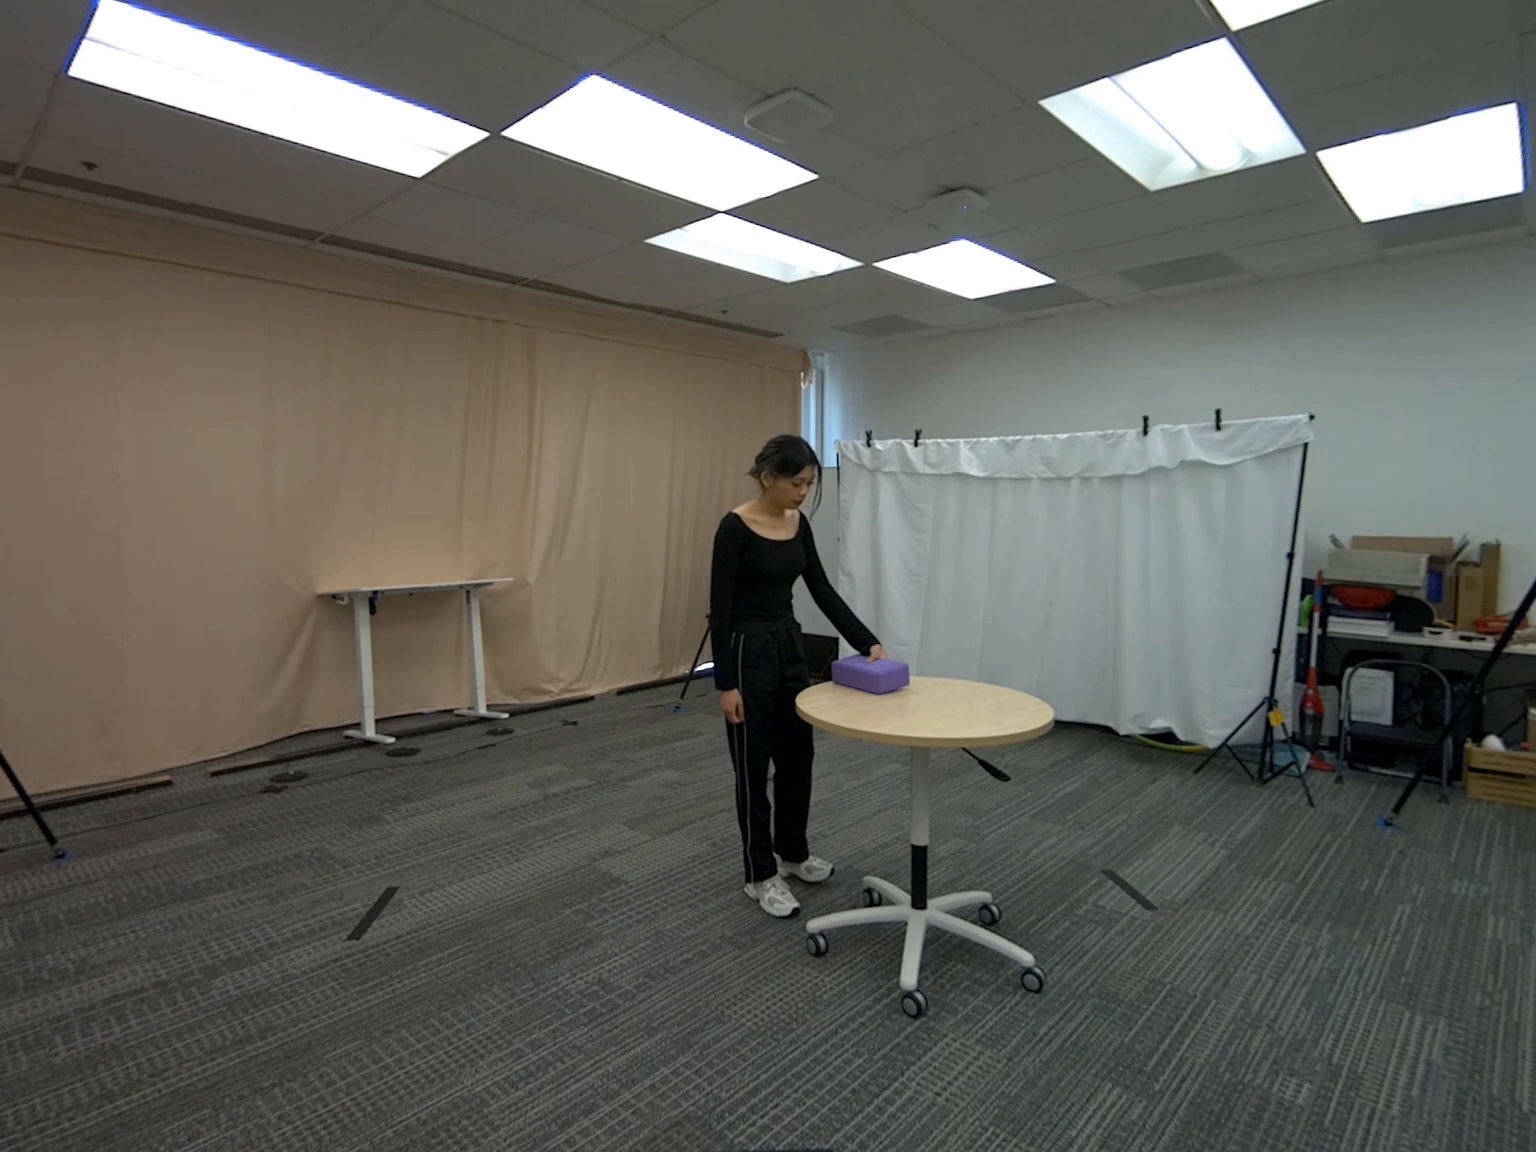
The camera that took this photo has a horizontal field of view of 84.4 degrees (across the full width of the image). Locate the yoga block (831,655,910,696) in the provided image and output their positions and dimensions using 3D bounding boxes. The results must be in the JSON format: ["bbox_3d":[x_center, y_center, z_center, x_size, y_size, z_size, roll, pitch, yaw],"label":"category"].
[{"bbox_3d":[0.355,0.328,2.805,0.145,0.076,0.236,-10,10,-33],"label":"yoga block"}]
